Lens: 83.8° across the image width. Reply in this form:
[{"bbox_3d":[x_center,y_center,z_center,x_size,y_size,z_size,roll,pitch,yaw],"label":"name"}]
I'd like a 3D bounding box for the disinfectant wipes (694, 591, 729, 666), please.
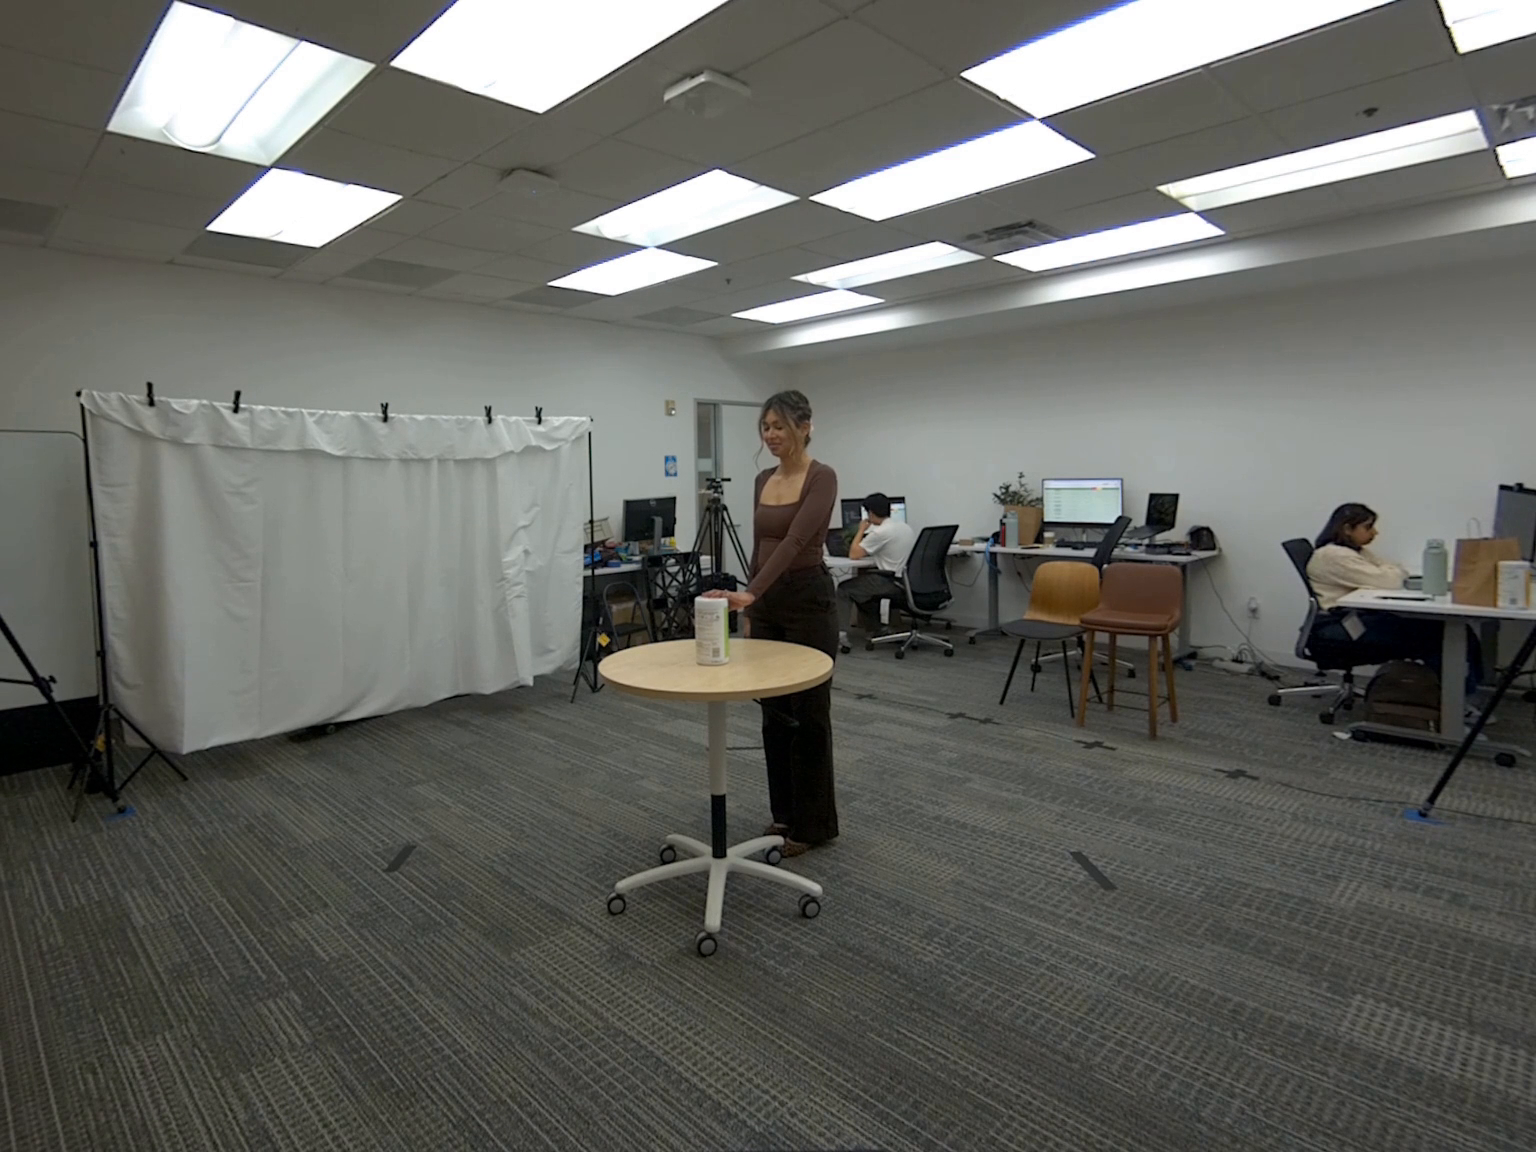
[{"bbox_3d":[-0.181,0.177,2.787,0.118,0.217,0.118,0,4,-2],"label":"disinfectant wipes"}]
